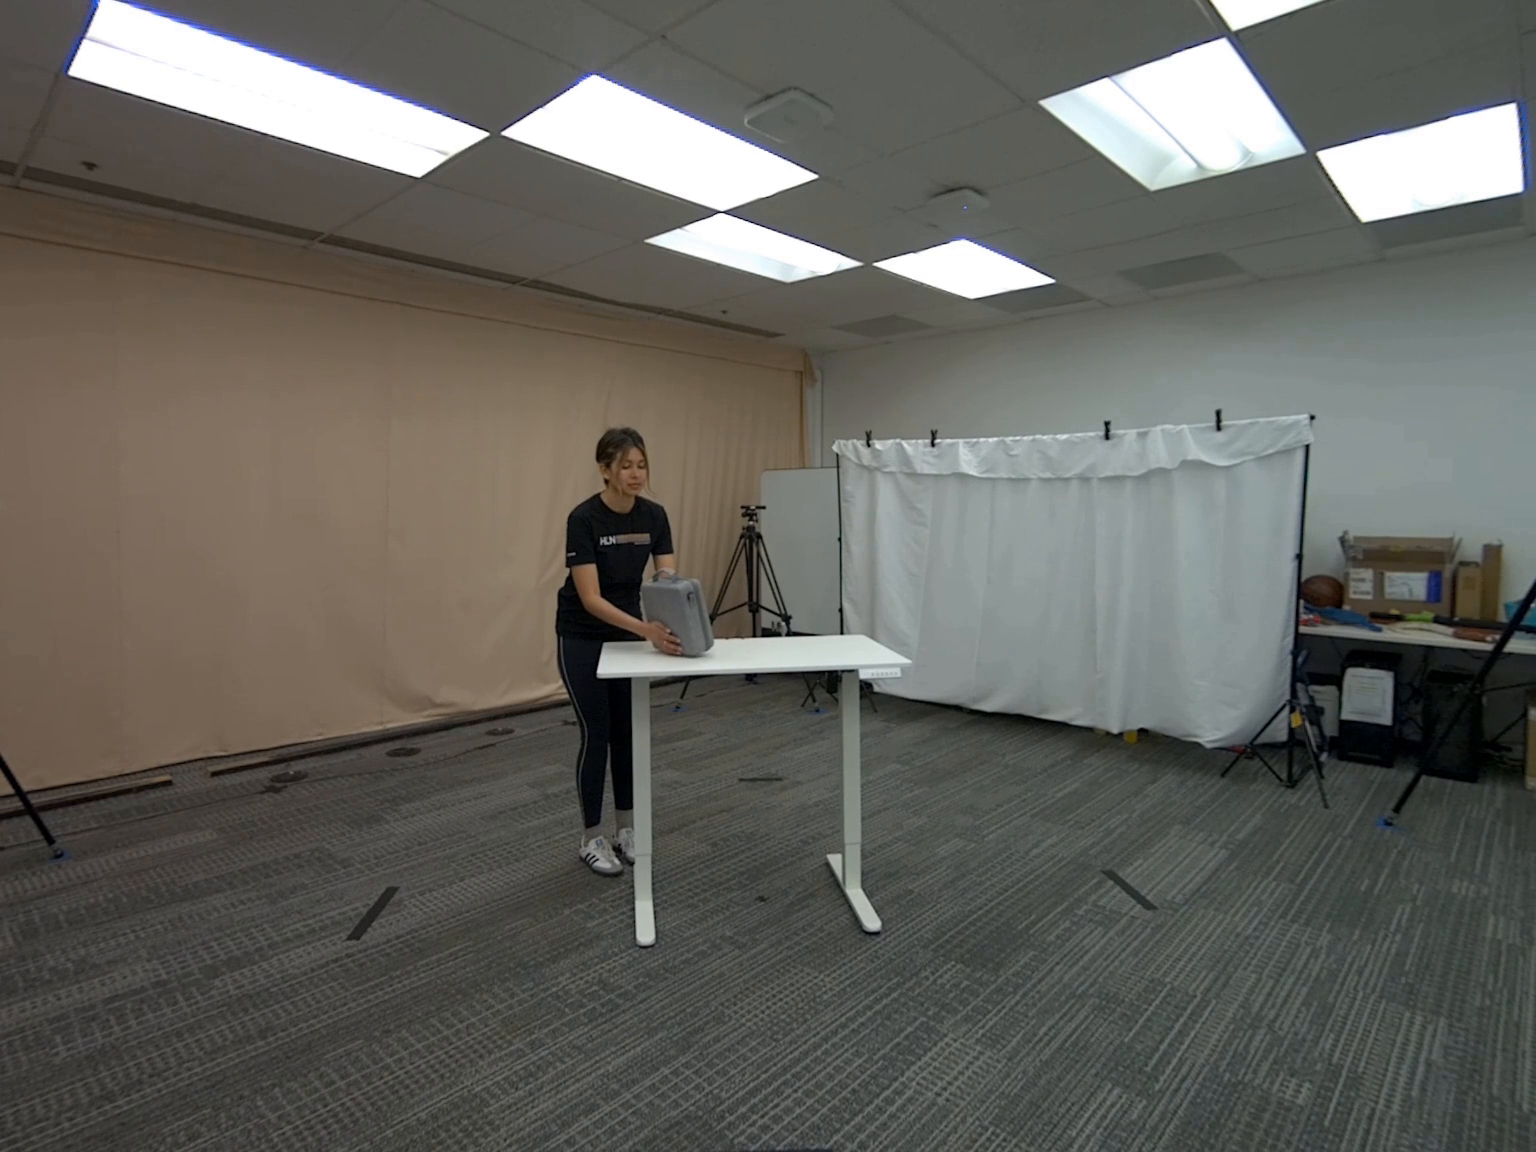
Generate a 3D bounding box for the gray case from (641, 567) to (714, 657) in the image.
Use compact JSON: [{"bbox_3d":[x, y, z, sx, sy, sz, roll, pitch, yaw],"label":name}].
[{"bbox_3d":[-0.316,0.130,2.887,0.102,0.259,0.265,-16,11,-42],"label":"gray case"}]
